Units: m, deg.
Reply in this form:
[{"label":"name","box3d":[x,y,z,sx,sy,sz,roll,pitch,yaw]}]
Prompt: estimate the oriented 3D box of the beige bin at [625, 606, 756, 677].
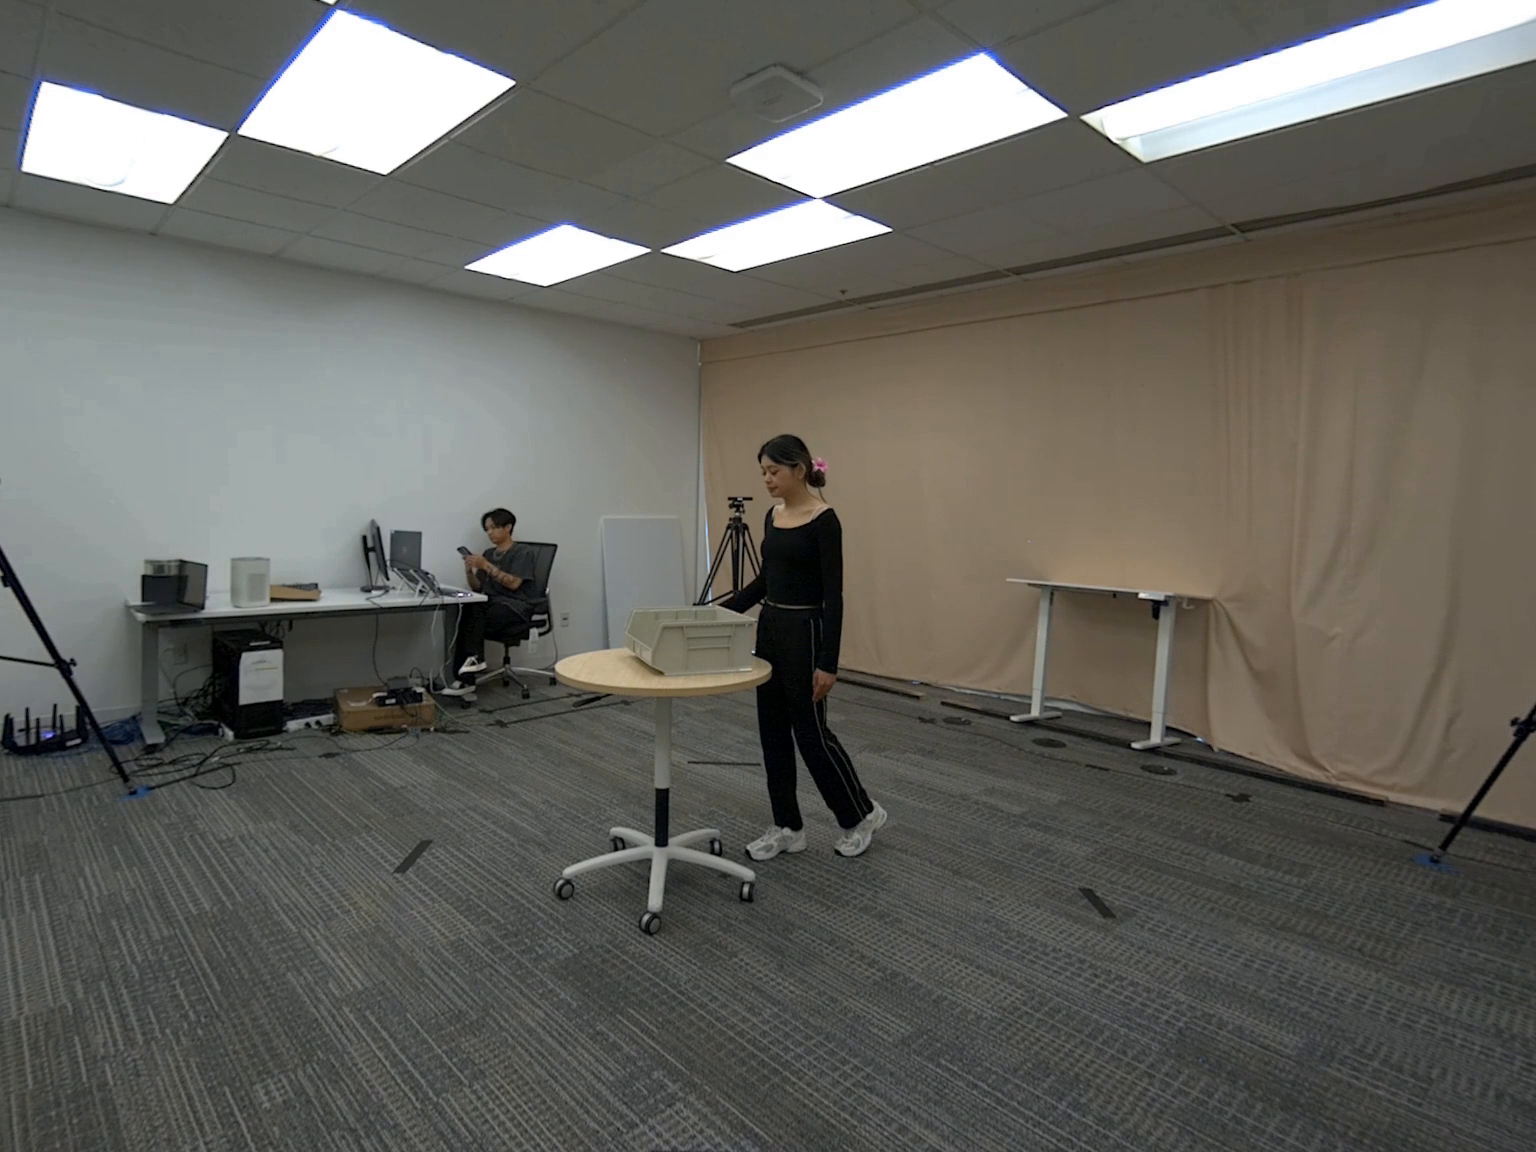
[{"label":"beige bin","box3d":[-0.298,0.227,3.028,0.371,0.188,0.430,0,4,-21]}]
